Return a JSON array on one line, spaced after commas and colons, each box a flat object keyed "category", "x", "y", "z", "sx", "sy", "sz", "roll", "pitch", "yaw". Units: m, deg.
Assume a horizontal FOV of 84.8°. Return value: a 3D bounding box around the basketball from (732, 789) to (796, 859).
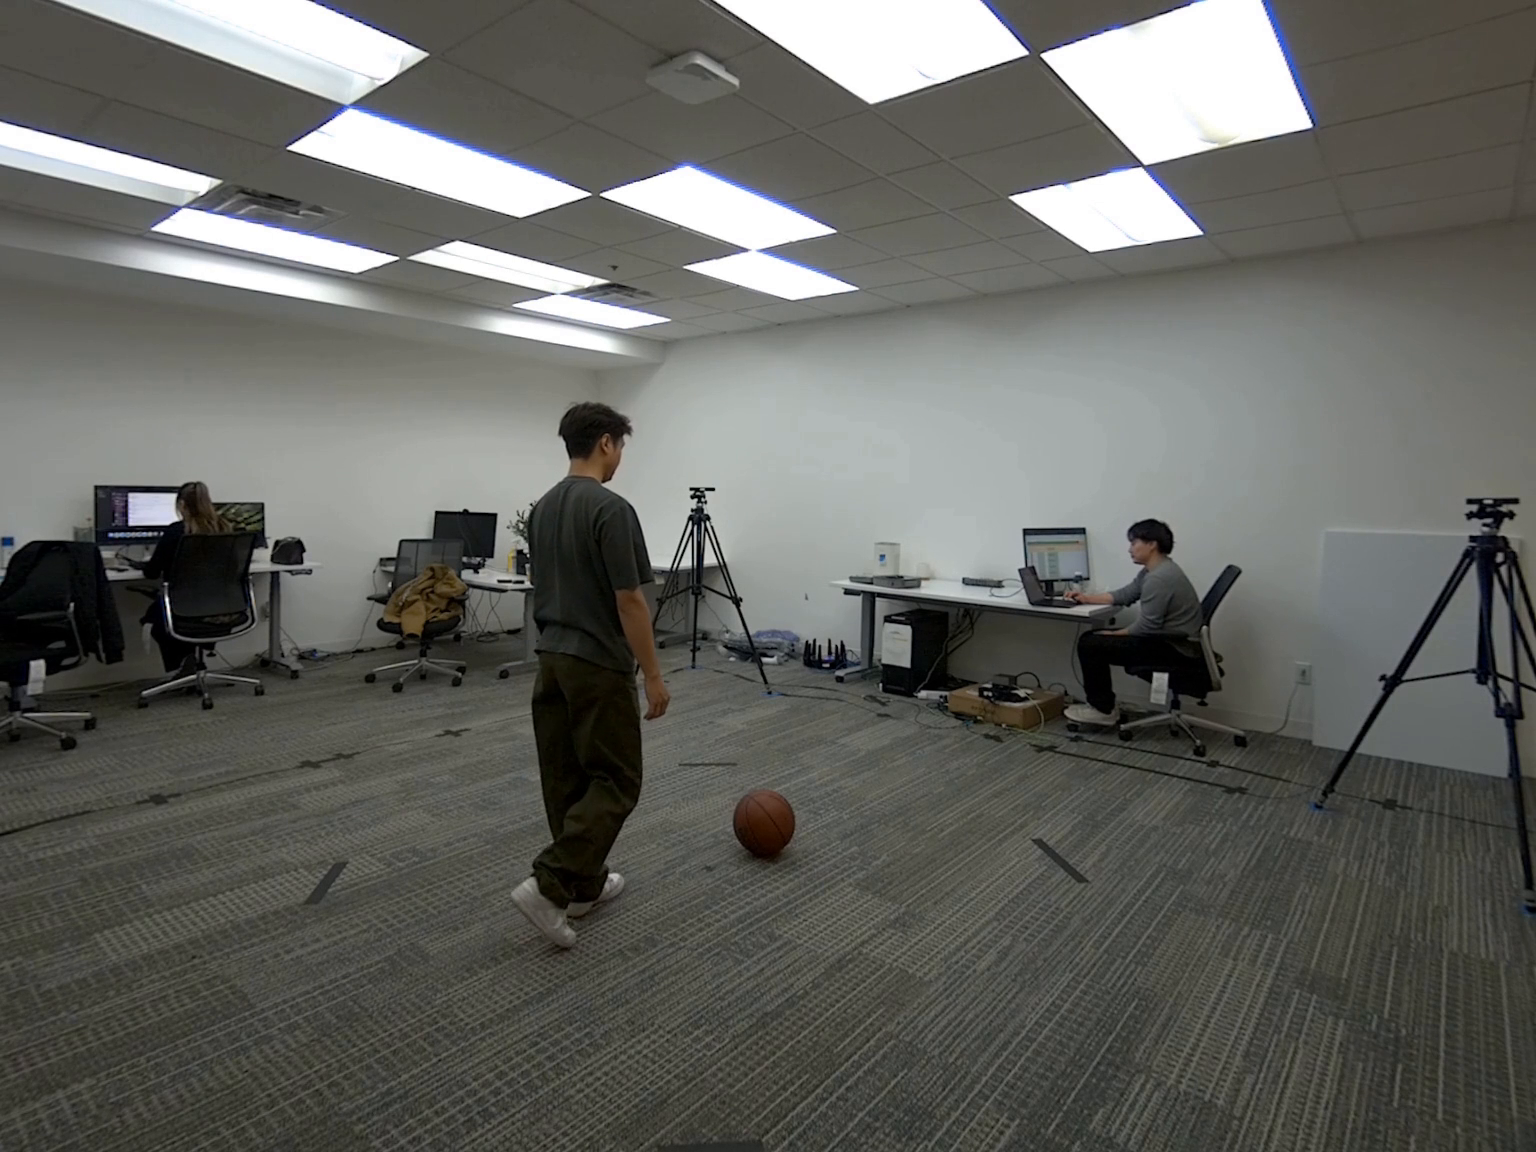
[{"category": "basketball", "x": -0.025, "y": 0.930, "z": 3.248, "sx": 0.235, "sy": 0.235, "sz": 0.237, "roll": 1, "pitch": 4, "yaw": -2}]
